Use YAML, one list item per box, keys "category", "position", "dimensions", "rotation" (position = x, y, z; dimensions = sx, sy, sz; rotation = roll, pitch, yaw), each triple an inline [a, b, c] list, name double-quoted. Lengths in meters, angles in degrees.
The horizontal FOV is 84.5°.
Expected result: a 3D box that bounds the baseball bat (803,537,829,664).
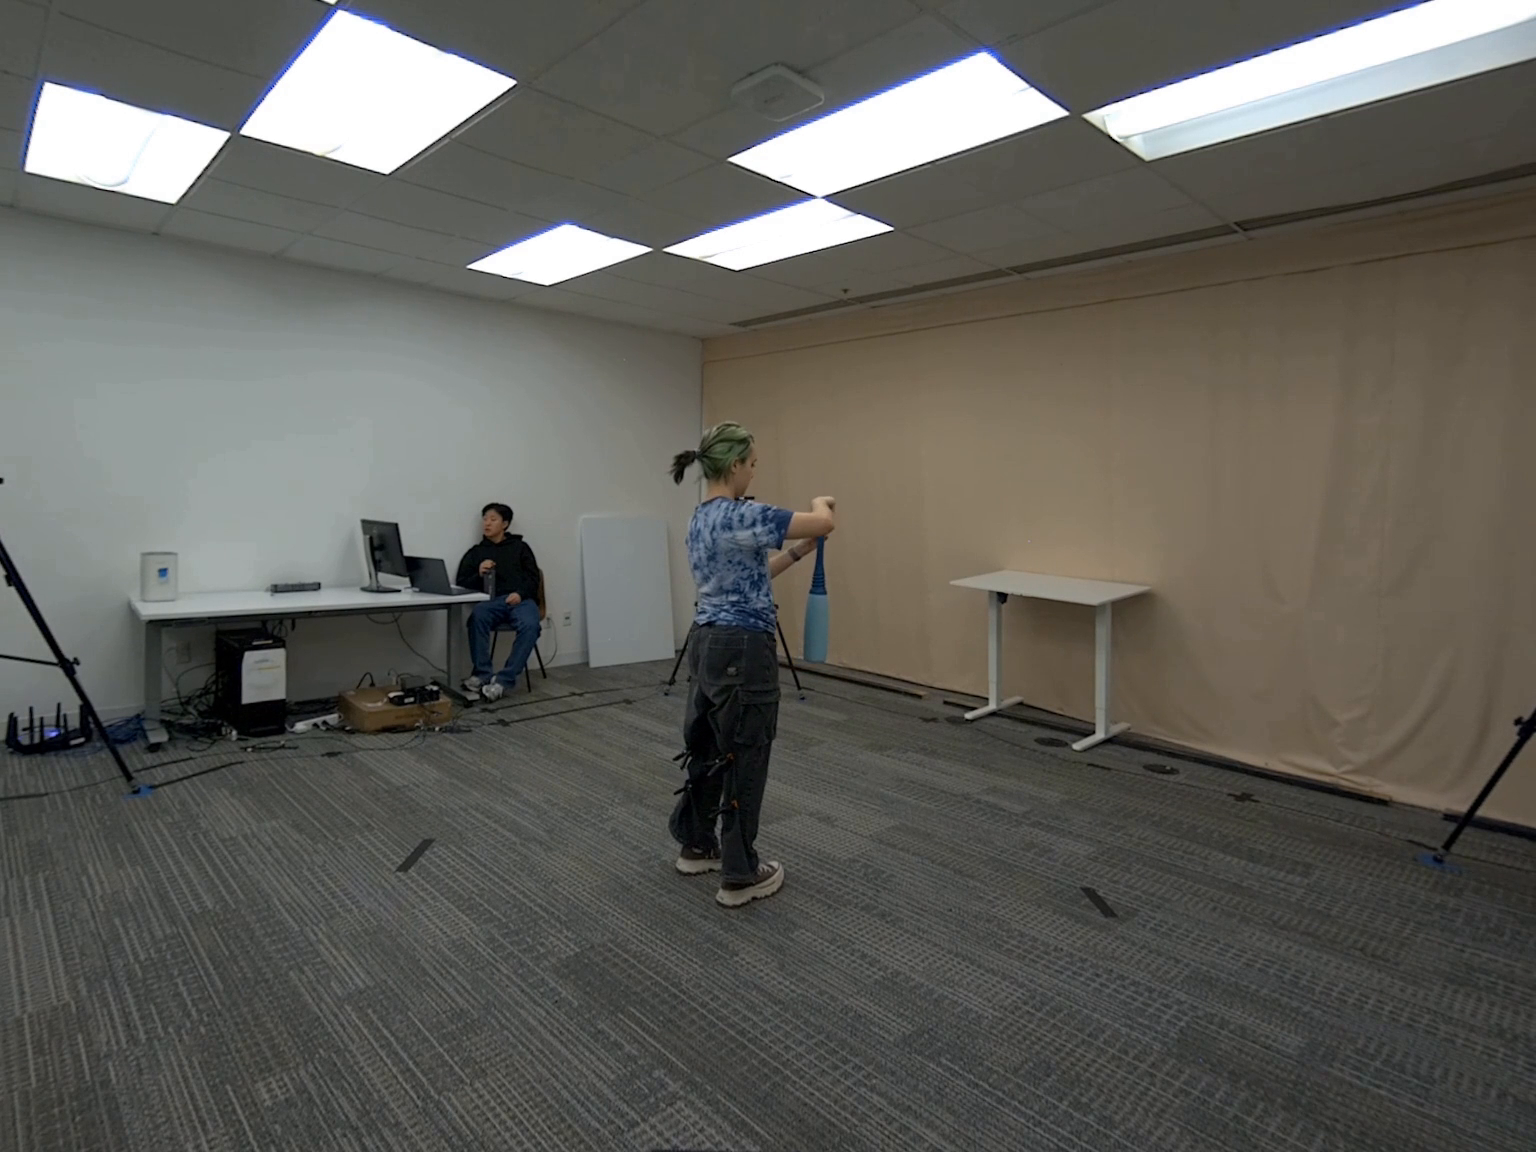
- category: "baseball bat"
  position: [0.173, 0.039, 3.079]
  dimensions: [0.089, 0.542, 0.089]
  rotation: [3, 3, -2]
